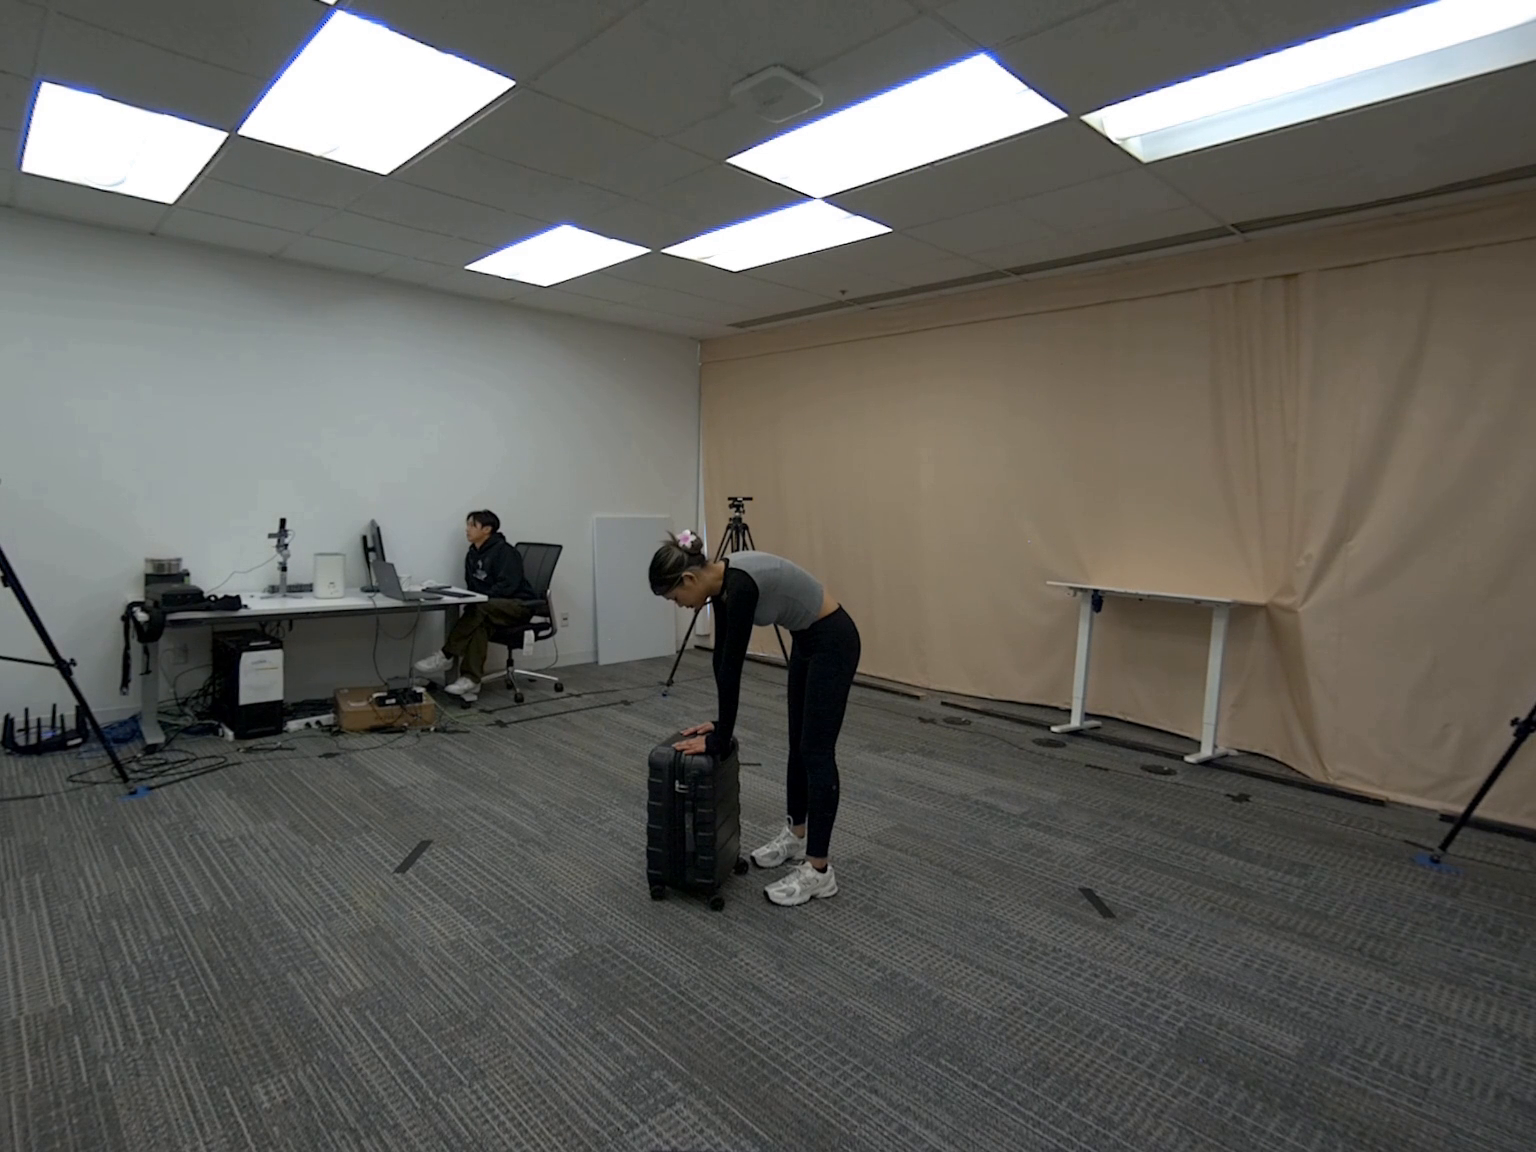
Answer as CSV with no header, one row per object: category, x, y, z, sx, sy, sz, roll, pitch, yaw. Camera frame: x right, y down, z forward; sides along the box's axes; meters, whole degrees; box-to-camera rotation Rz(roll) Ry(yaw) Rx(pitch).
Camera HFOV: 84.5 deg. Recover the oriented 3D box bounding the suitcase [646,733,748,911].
suitcase,-0.261,0.840,3.005,0.252,0.548,0.371,0,3,18
